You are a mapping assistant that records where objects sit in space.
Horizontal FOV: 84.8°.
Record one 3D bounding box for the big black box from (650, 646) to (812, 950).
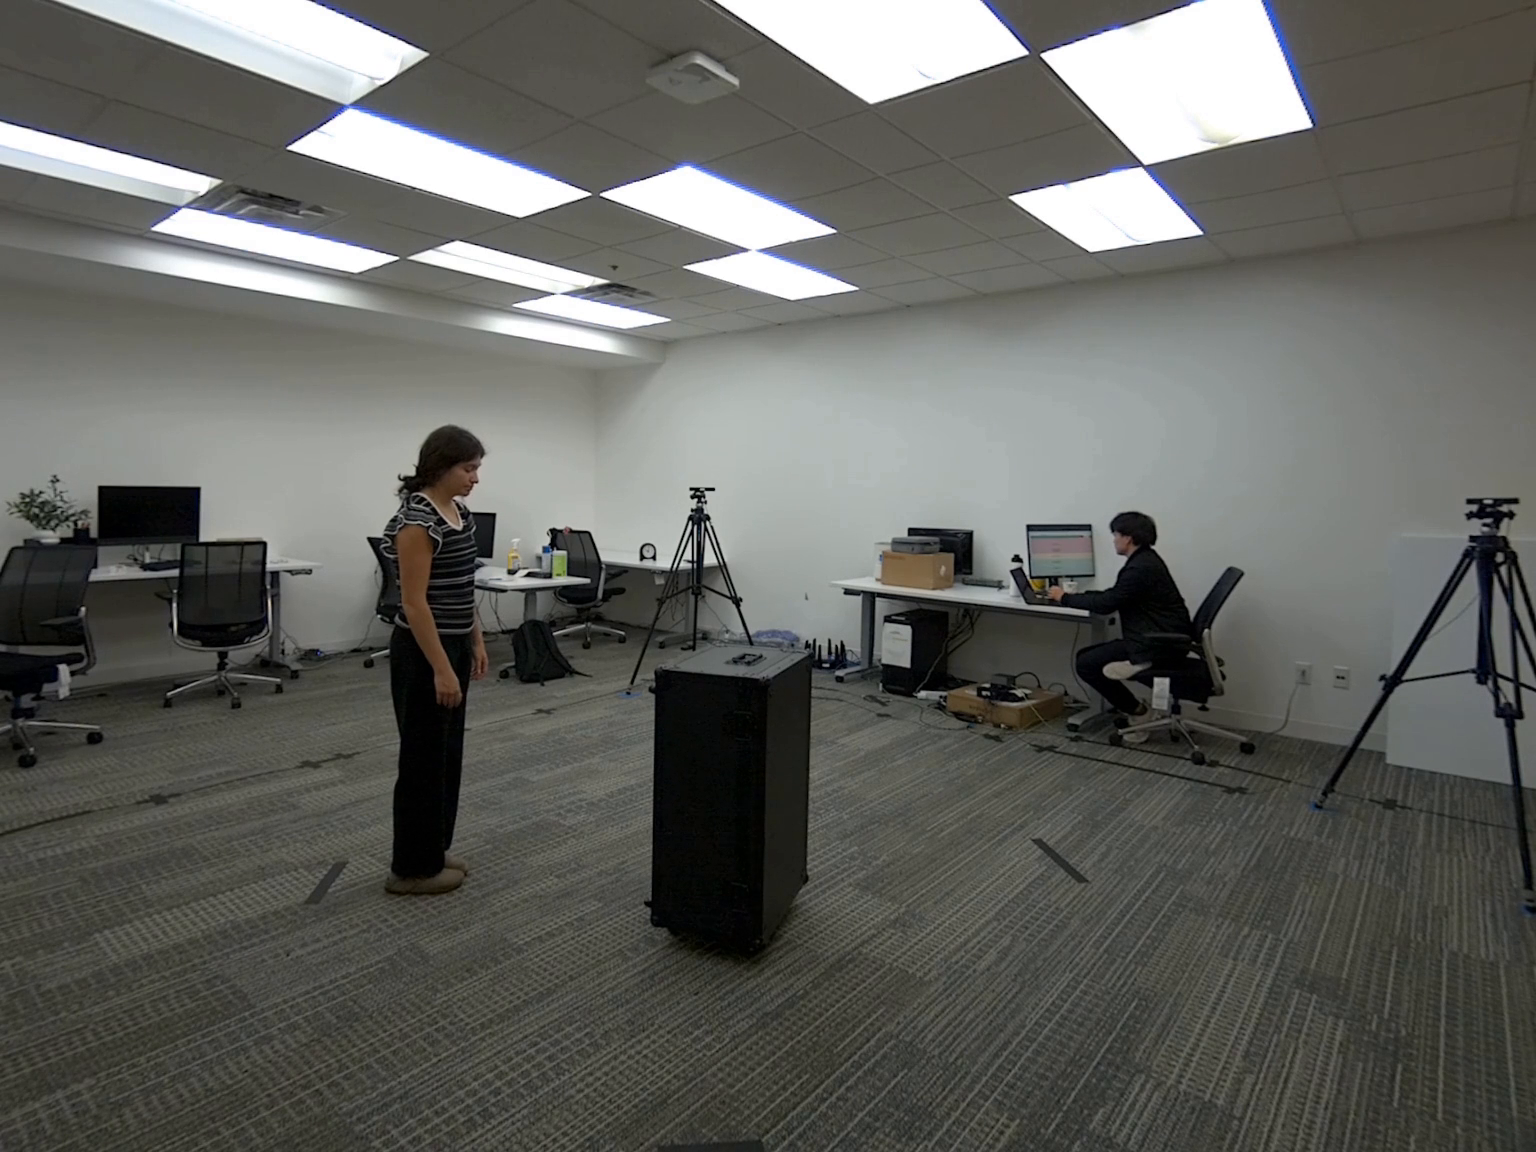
[{"bbox_3d":[-0.123,0.683,2.687,0.405,0.859,0.511,1,3,20],"label":"big black box"}]
